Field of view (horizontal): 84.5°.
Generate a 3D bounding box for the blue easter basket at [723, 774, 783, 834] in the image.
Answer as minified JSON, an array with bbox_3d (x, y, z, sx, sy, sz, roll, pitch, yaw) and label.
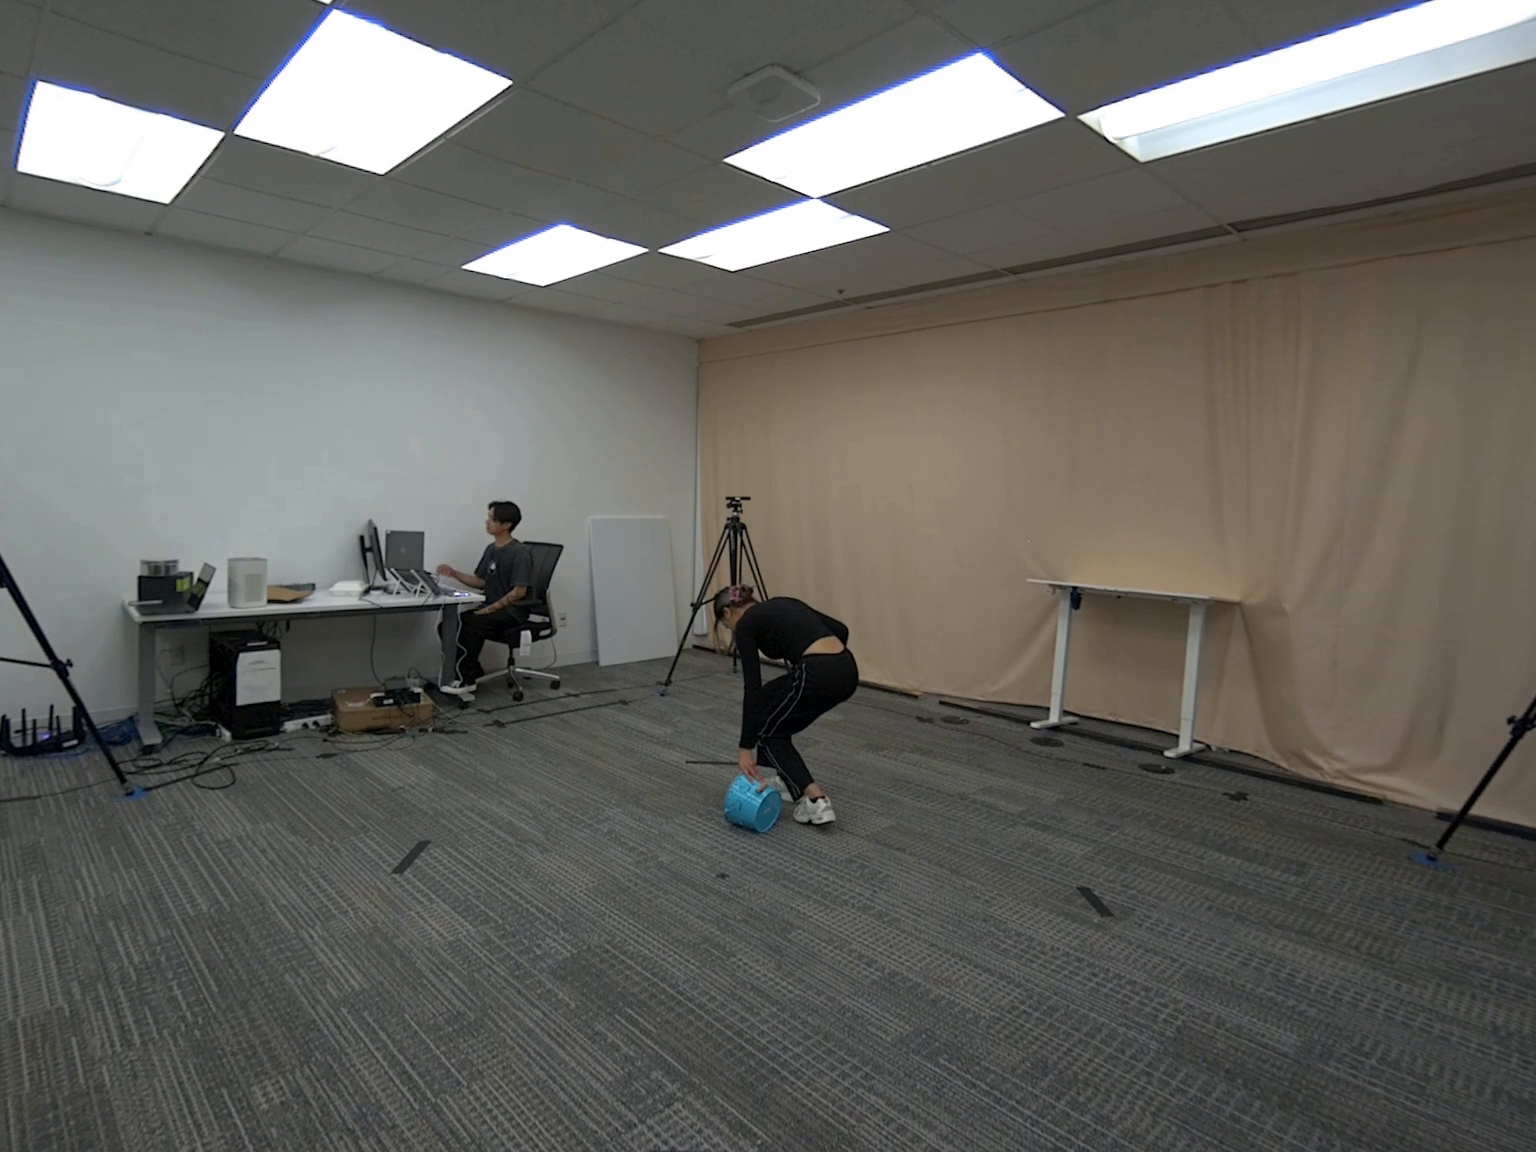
[{"bbox_3d":[-0.070,0.964,3.566,0.160,0.242,0.238,15,12,38],"label":"blue easter basket"}]
